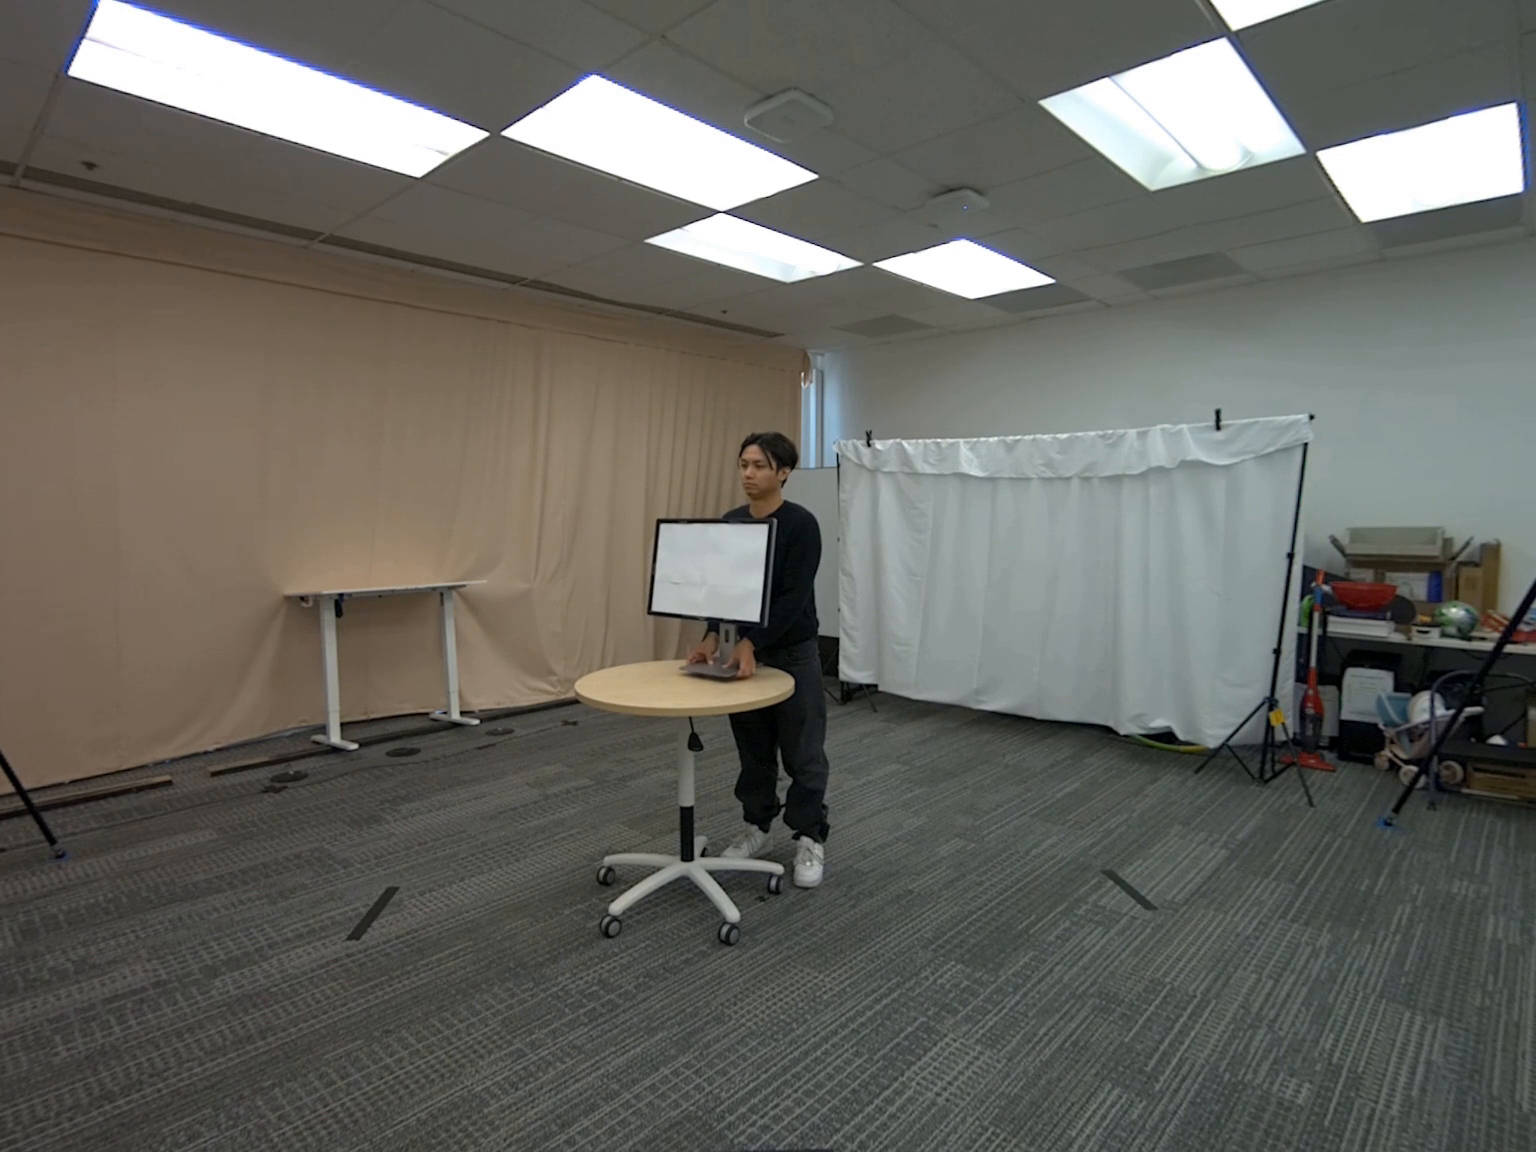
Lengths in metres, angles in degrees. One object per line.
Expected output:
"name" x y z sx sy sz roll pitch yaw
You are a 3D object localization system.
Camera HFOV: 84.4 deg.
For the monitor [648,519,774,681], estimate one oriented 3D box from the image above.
"monitor" -0.184 0.069 3.015 0.556 0.521 0.182 2 7 39
